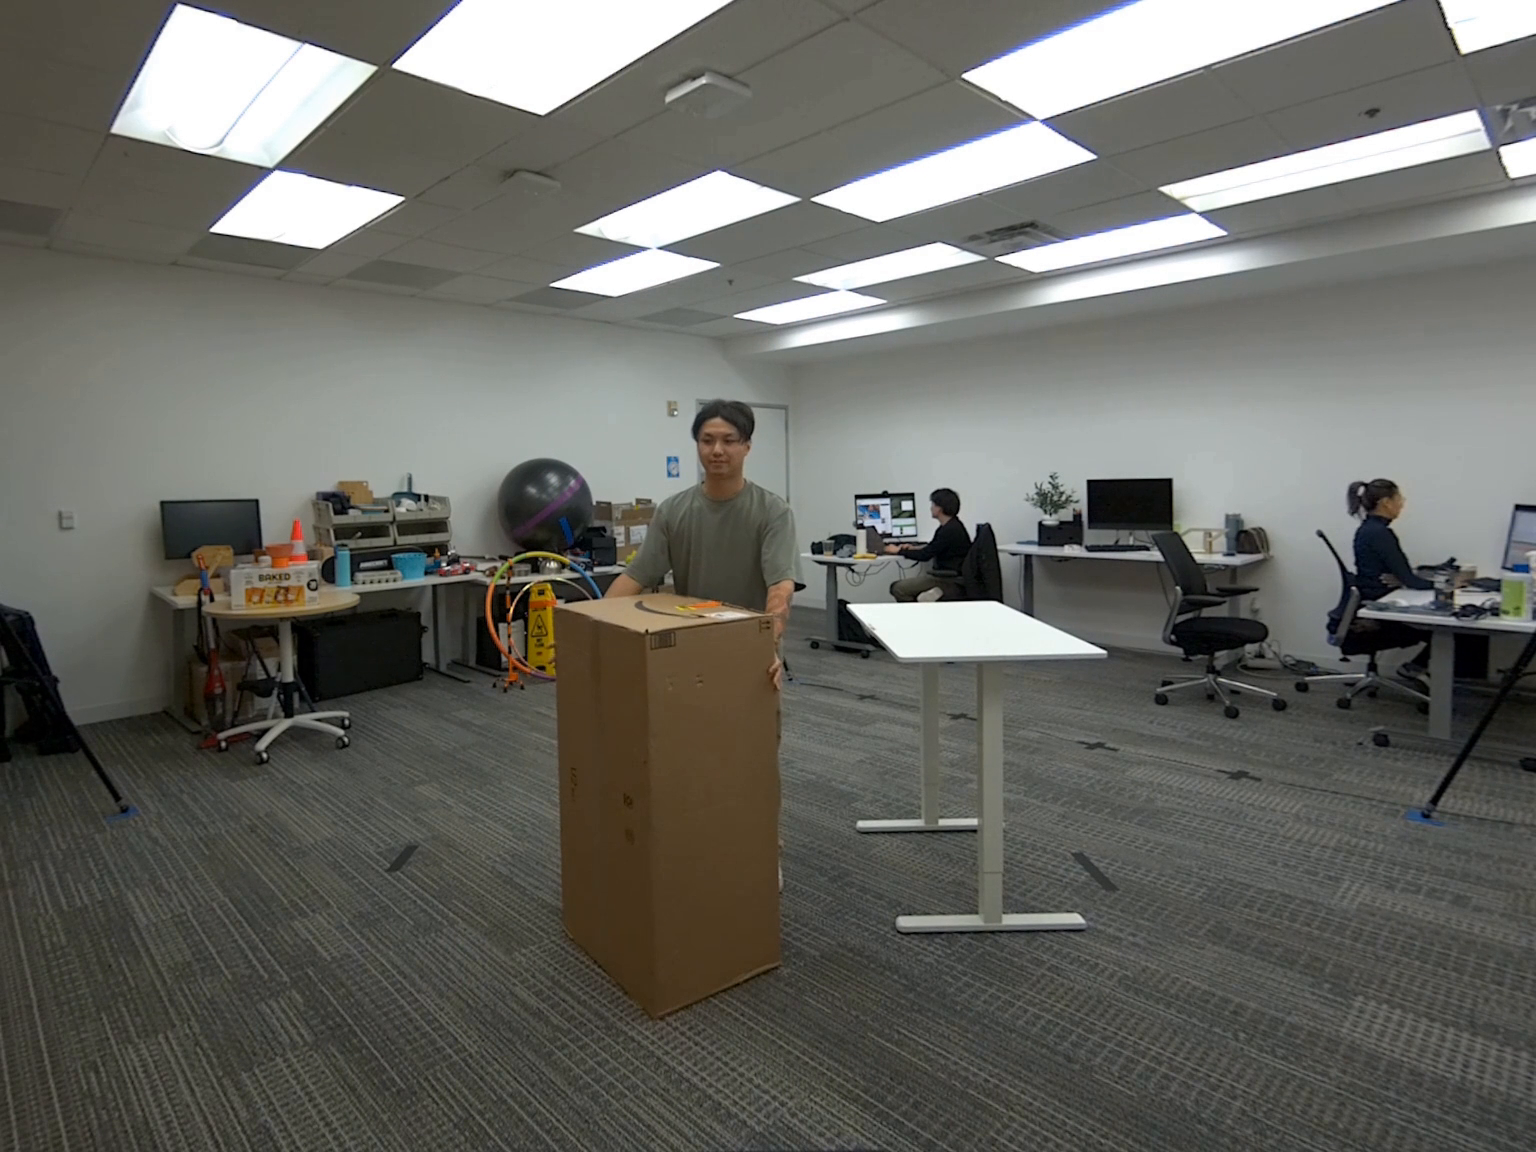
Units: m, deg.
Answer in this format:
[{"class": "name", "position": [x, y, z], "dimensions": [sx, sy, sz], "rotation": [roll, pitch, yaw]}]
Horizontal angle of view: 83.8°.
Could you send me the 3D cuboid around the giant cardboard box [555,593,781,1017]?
[{"class": "giant cardboard box", "position": [-0.308, 0.610, 2.530], "dimensions": [0.415, 1.022, 0.595], "rotation": [-3, 5, -37]}]
